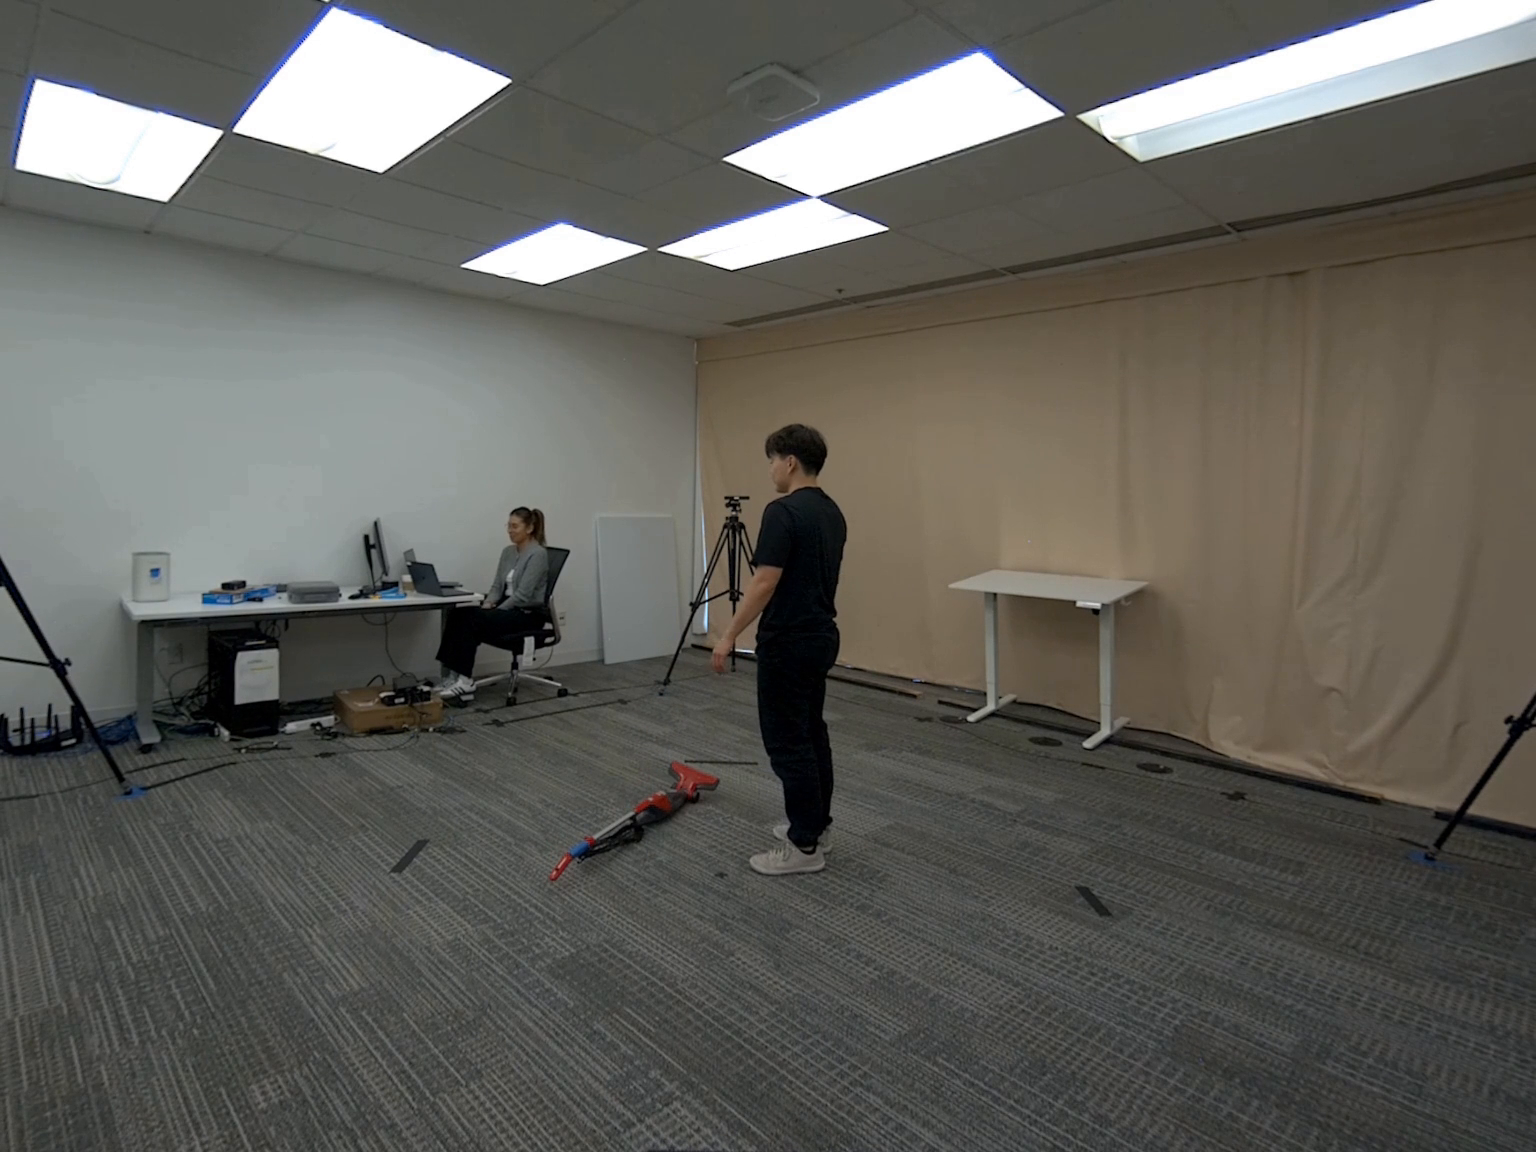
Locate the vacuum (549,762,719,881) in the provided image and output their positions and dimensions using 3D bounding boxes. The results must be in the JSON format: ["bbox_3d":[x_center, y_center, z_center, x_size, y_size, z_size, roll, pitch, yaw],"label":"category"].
[{"bbox_3d":[-0.559,1.014,3.417,0.257,0.143,1.035,14,11,20],"label":"vacuum"}]
